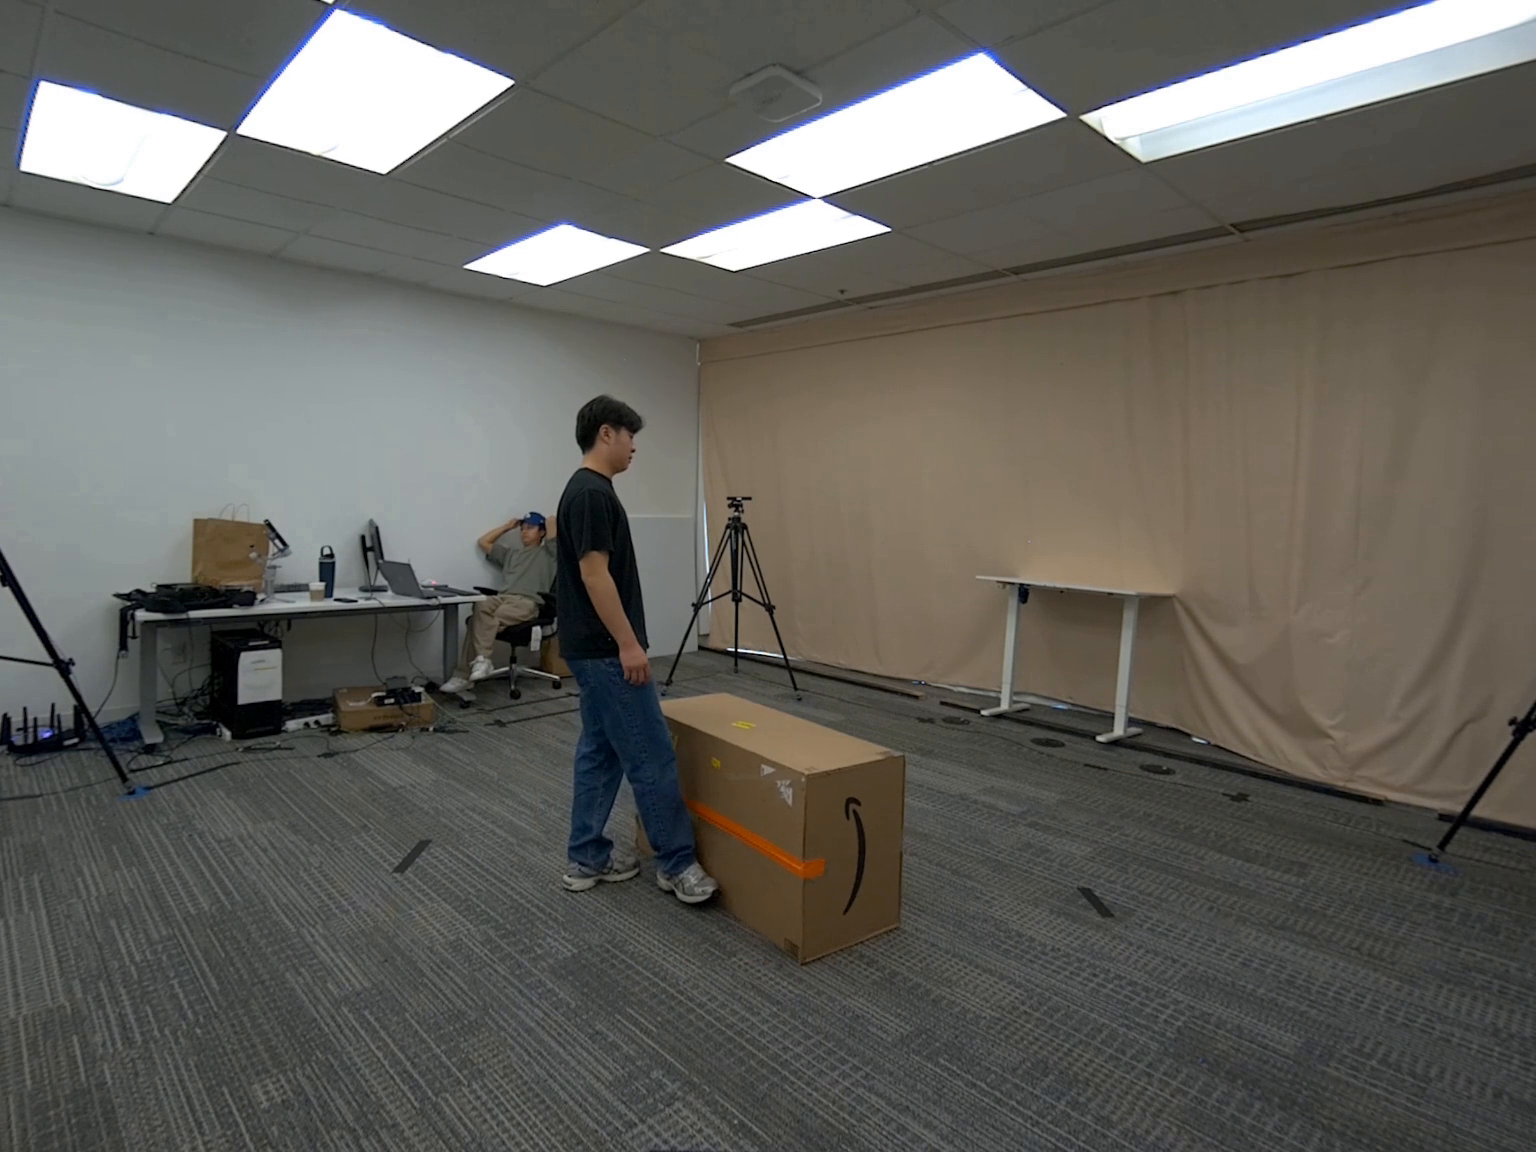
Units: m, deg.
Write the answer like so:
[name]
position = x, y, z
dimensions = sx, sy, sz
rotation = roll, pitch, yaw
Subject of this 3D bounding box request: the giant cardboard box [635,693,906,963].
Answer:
[giant cardboard box]
position = -0.040, 0.832, 3.037
dimensions = 0.437, 0.582, 1.052
rotation = -2, 5, -37
